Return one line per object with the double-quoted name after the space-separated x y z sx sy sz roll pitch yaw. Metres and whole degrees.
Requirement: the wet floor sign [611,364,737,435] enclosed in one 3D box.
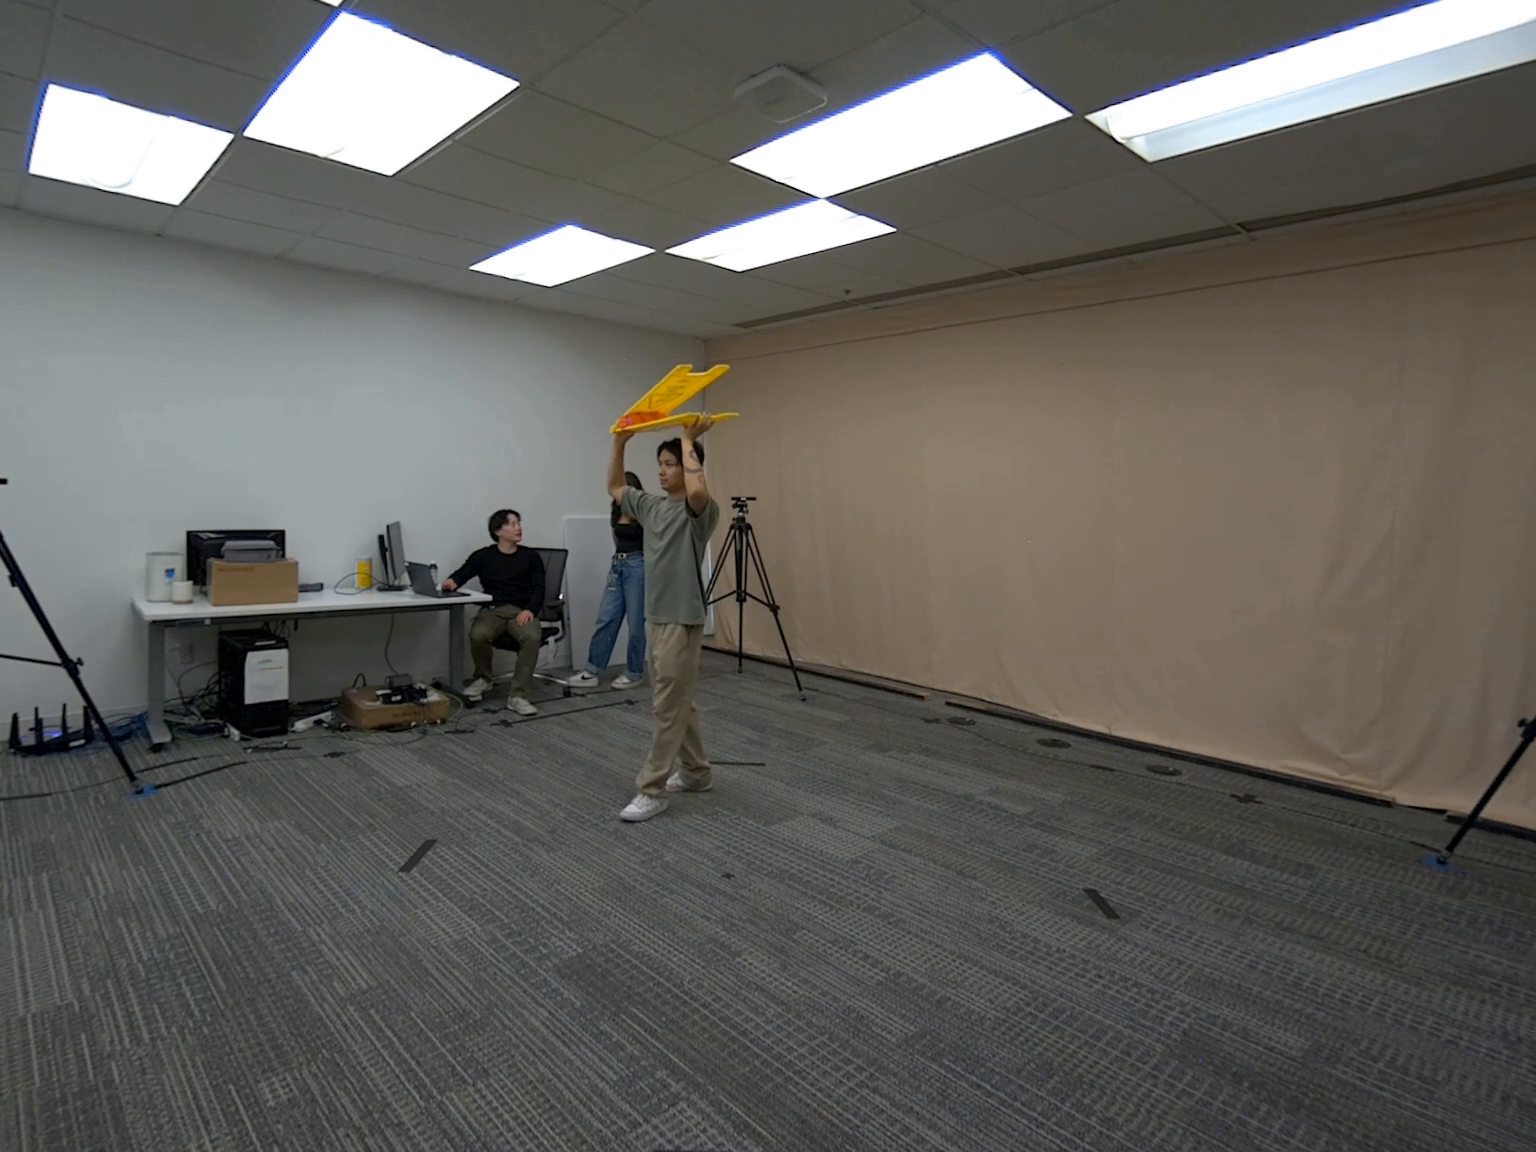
-0.469 -0.729 3.734 0.277 0.290 0.658 -10 1 -43 "wet floor sign"
